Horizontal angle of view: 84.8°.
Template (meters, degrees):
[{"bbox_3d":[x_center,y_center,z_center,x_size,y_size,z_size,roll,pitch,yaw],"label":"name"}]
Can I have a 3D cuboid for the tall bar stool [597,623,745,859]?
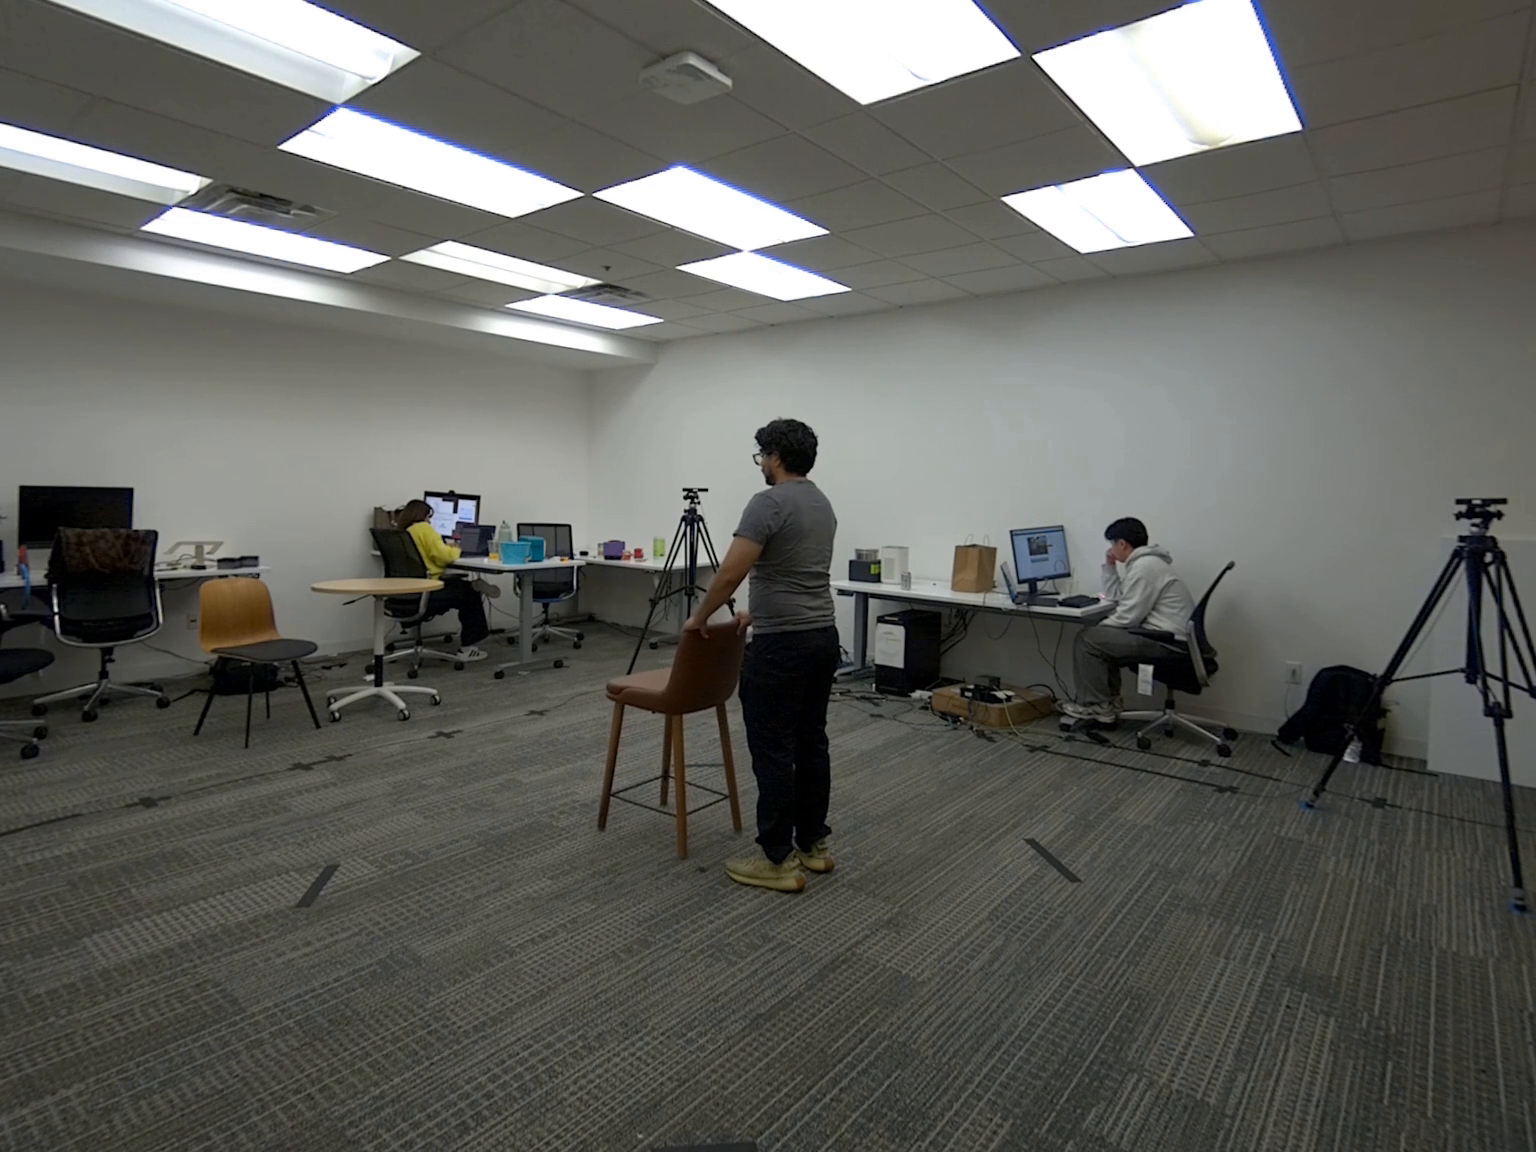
[{"bbox_3d":[-0.383,0.594,3.446,0.483,0.887,0.443,6,4,37],"label":"tall bar stool"}]
